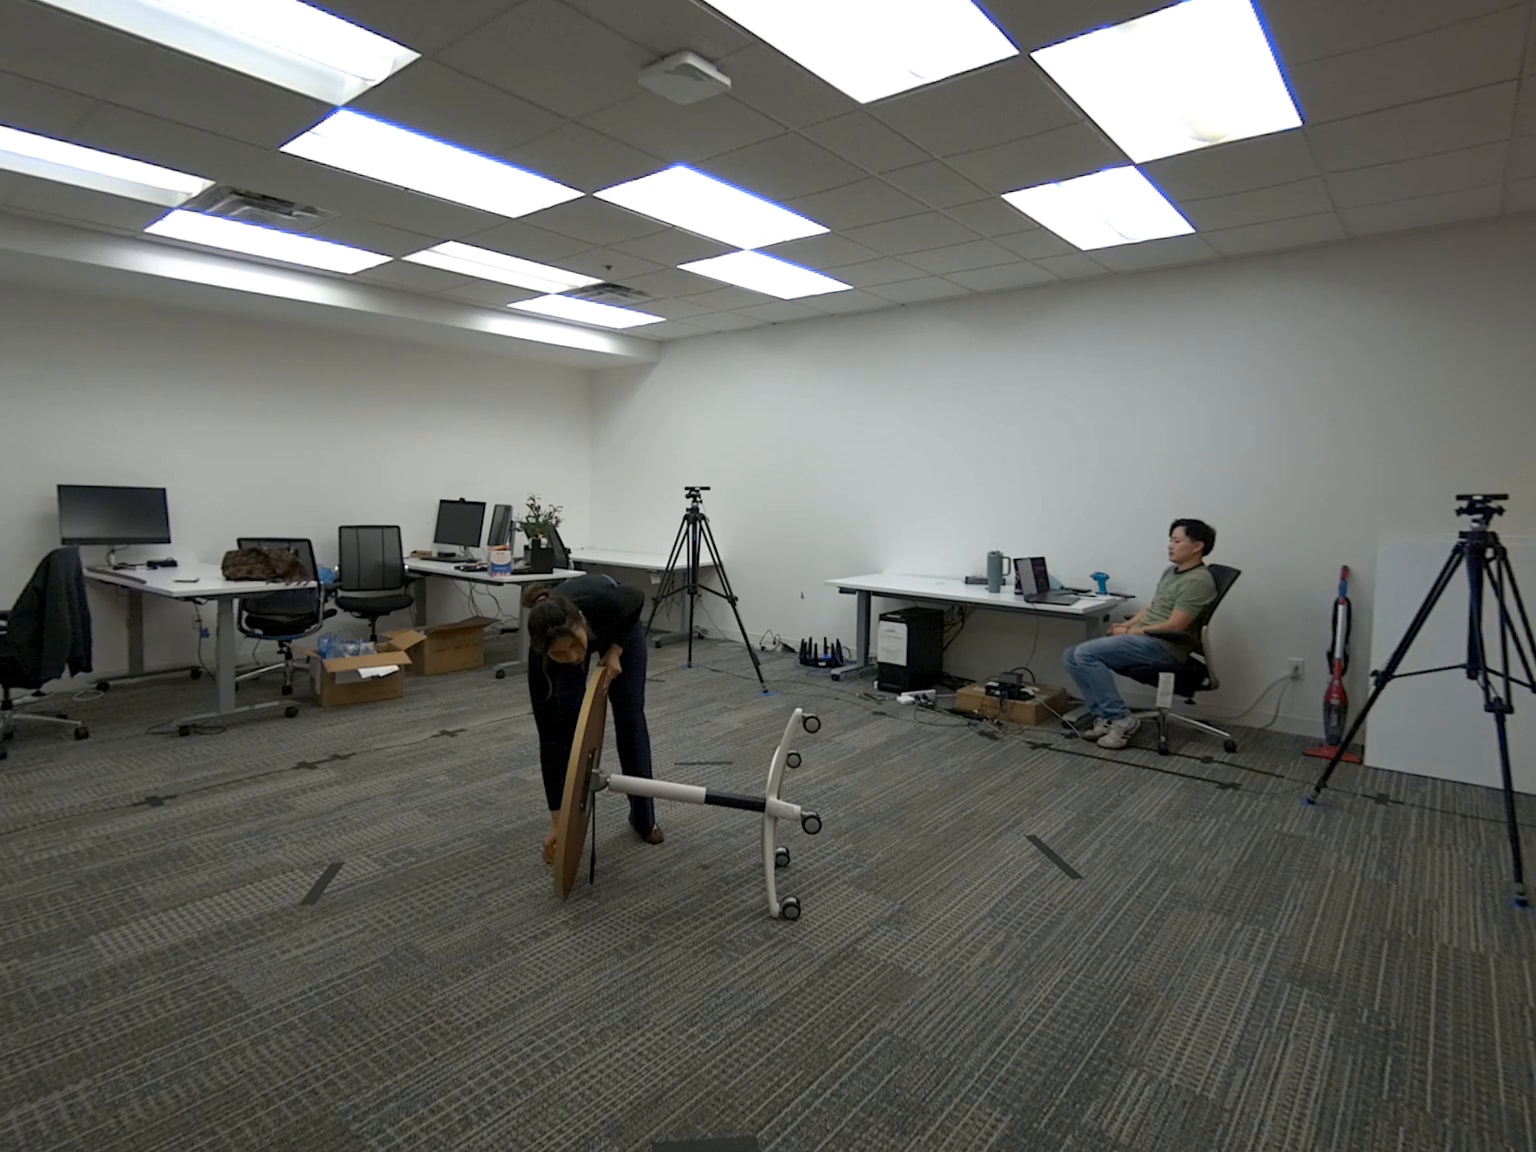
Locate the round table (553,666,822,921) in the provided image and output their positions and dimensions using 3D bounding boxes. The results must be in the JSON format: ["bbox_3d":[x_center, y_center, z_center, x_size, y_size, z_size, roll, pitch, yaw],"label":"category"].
[{"bbox_3d":[-0.271,0.753,2.938,0.792,0.762,0.768,8,4,-3],"label":"round table"}]
